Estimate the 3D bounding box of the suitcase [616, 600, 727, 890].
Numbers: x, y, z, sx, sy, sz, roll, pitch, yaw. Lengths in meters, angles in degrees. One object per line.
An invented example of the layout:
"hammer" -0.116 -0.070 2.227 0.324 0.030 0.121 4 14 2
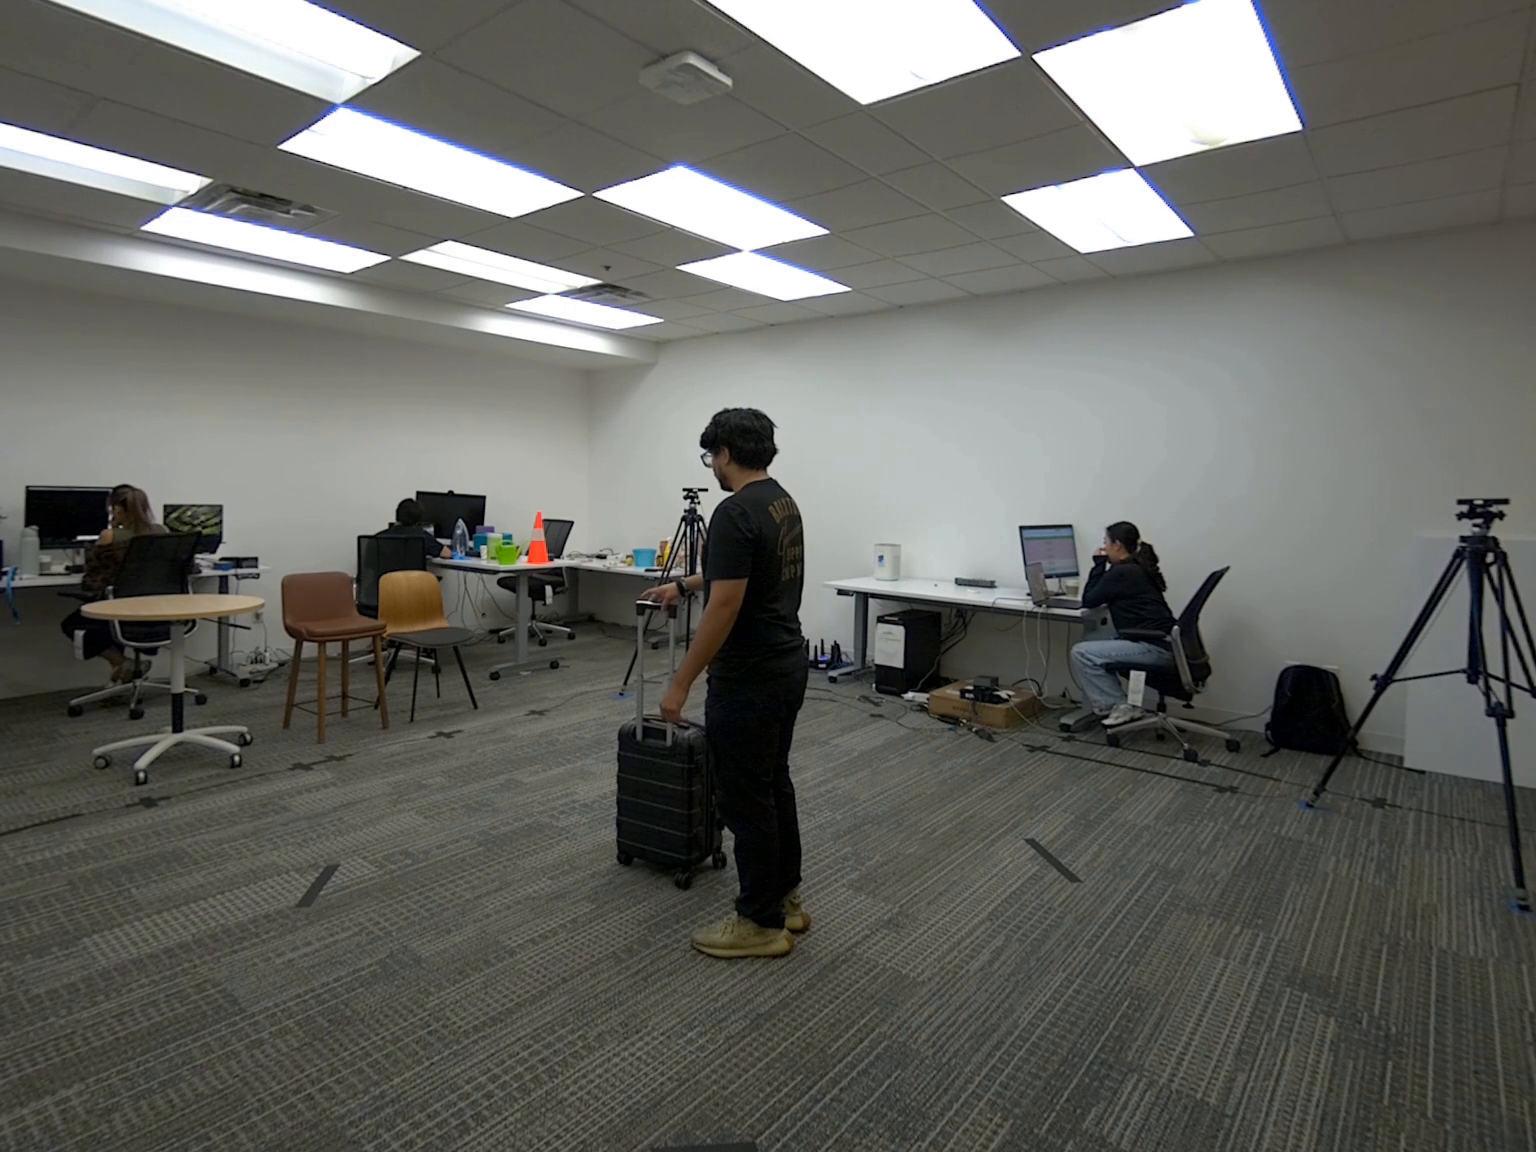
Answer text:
"suitcase" -0.369 0.589 3.126 0.395 0.978 0.250 2 1 32
